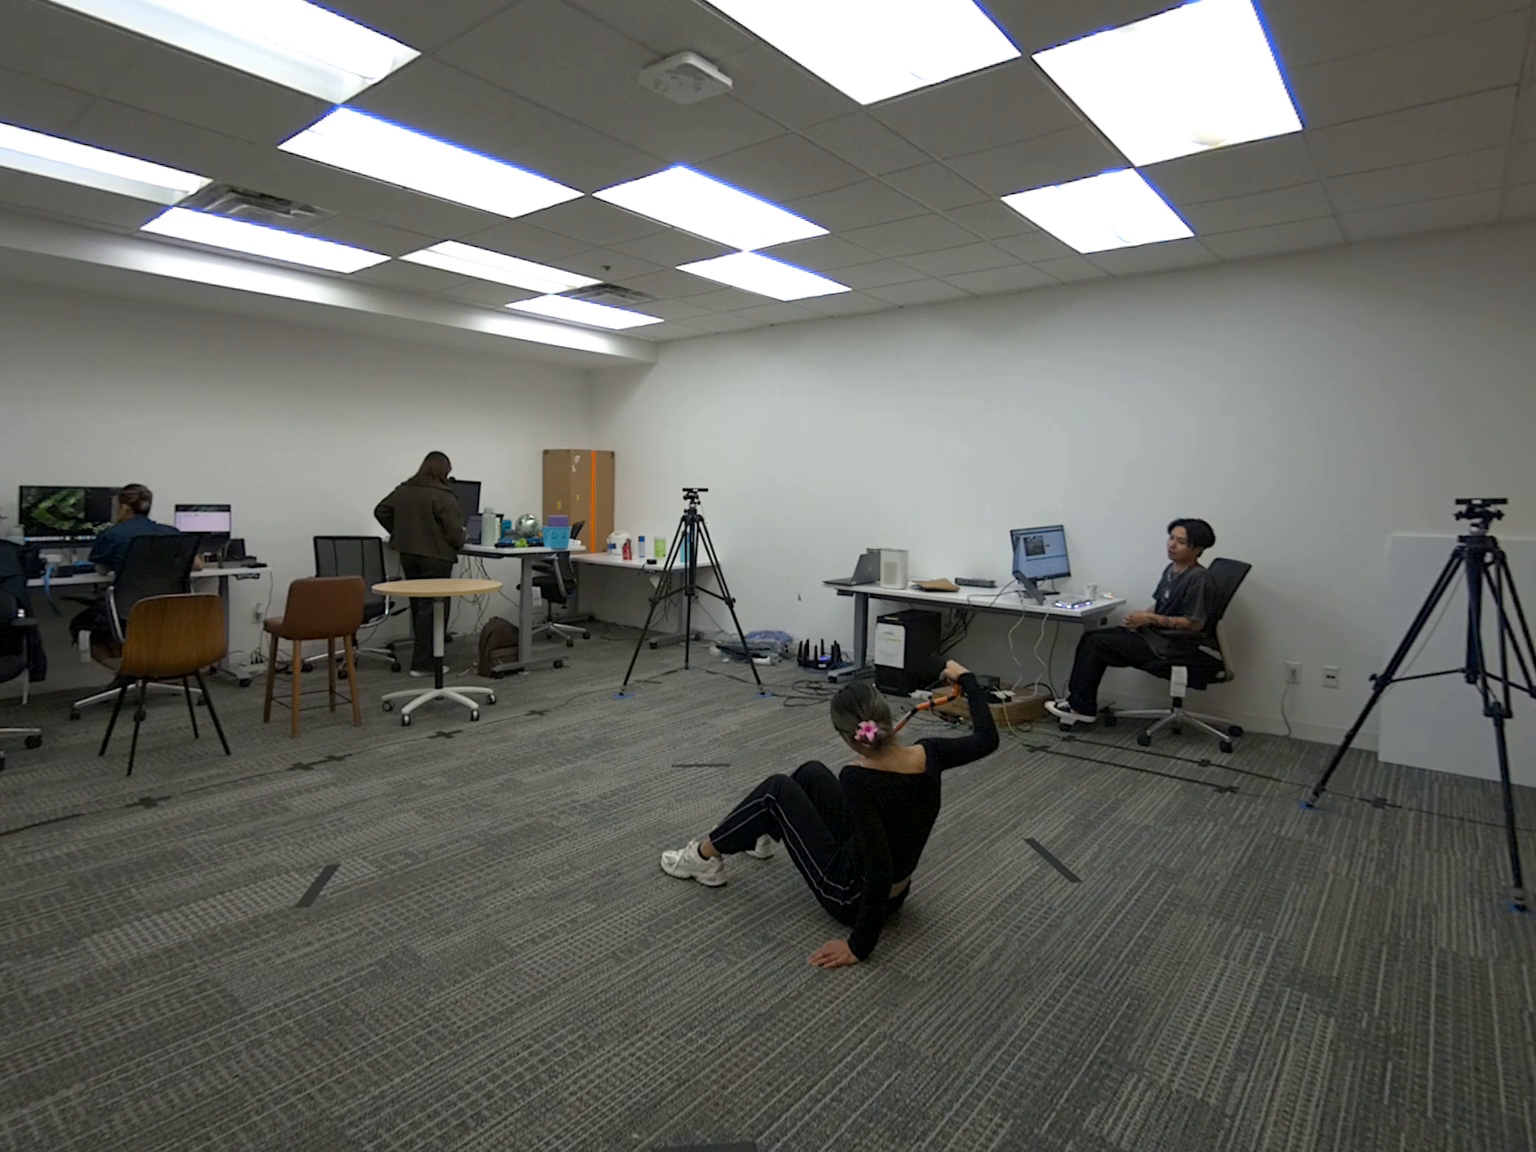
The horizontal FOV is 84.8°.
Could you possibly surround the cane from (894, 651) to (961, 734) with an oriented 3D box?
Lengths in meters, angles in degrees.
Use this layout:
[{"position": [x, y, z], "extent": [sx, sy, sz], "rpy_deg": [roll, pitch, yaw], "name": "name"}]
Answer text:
[{"position": [0.391, 0.657, 3.239], "extent": [0.212, 0.905, 0.148], "rpy_deg": [48, 27, 19], "name": "cane"}]
